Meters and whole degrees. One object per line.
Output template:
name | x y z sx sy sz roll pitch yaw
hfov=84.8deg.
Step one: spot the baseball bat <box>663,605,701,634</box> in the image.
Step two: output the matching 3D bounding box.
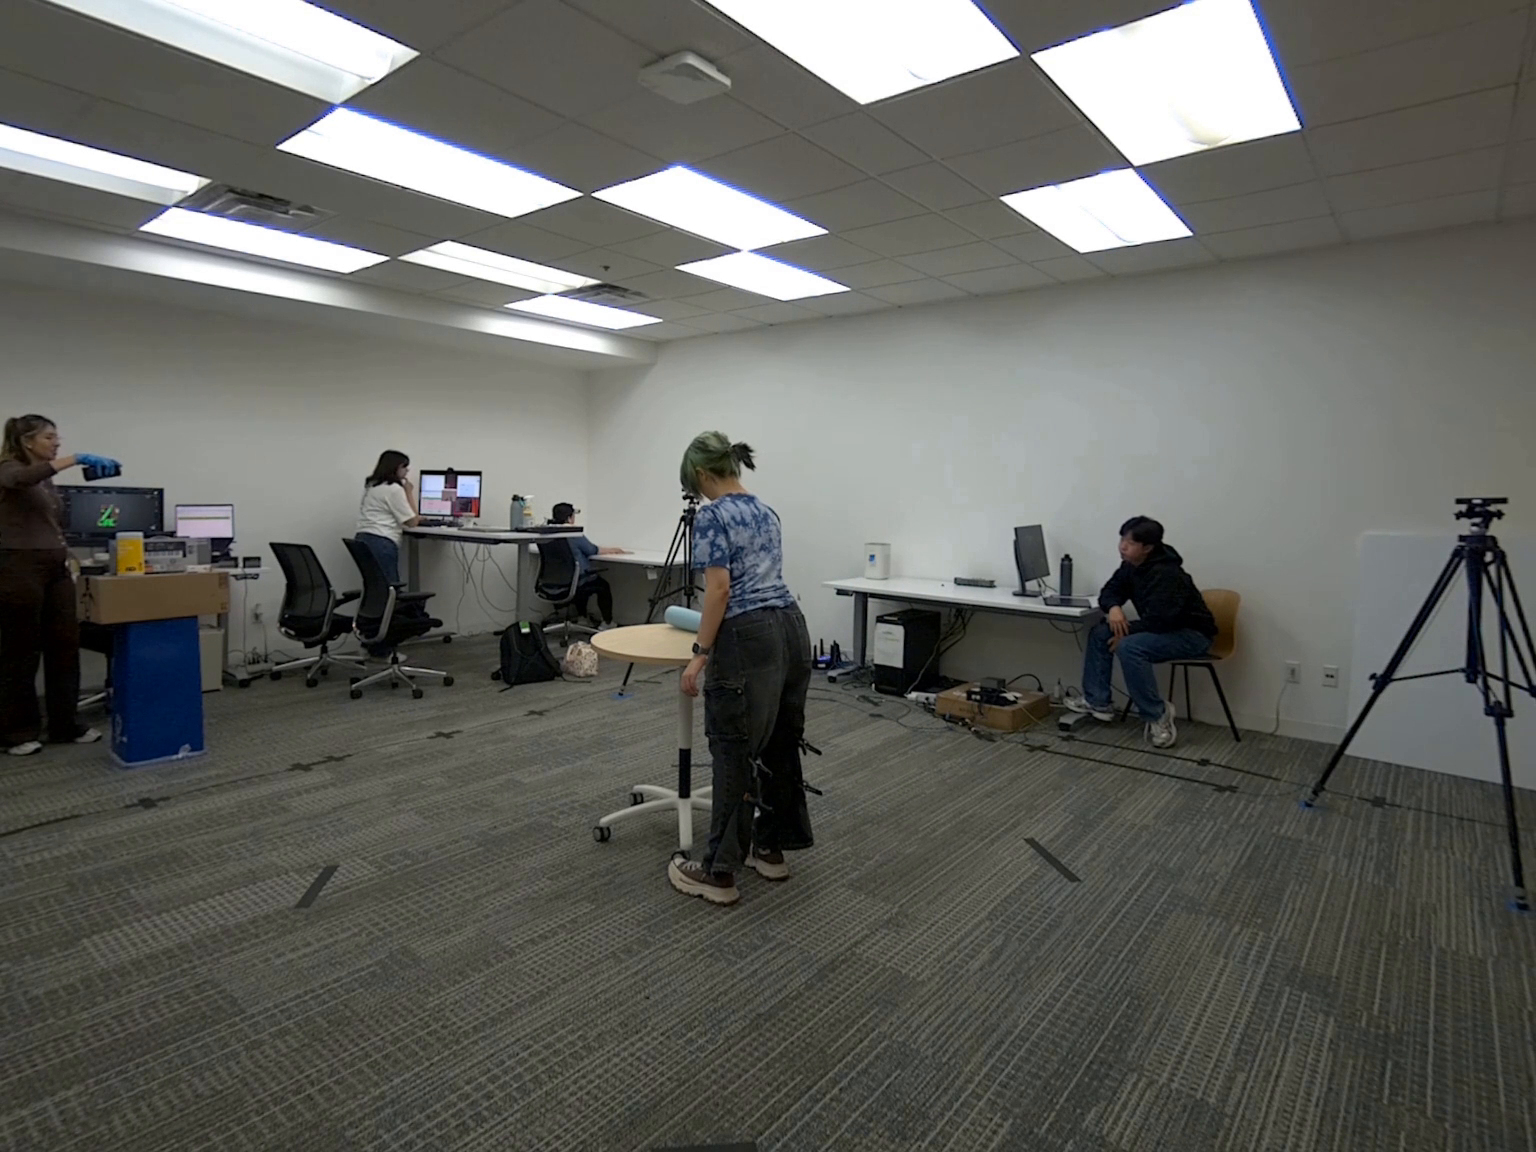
baseball bat | -0.244 0.211 3.525 0.086 0.088 0.563 -3 11 -44
